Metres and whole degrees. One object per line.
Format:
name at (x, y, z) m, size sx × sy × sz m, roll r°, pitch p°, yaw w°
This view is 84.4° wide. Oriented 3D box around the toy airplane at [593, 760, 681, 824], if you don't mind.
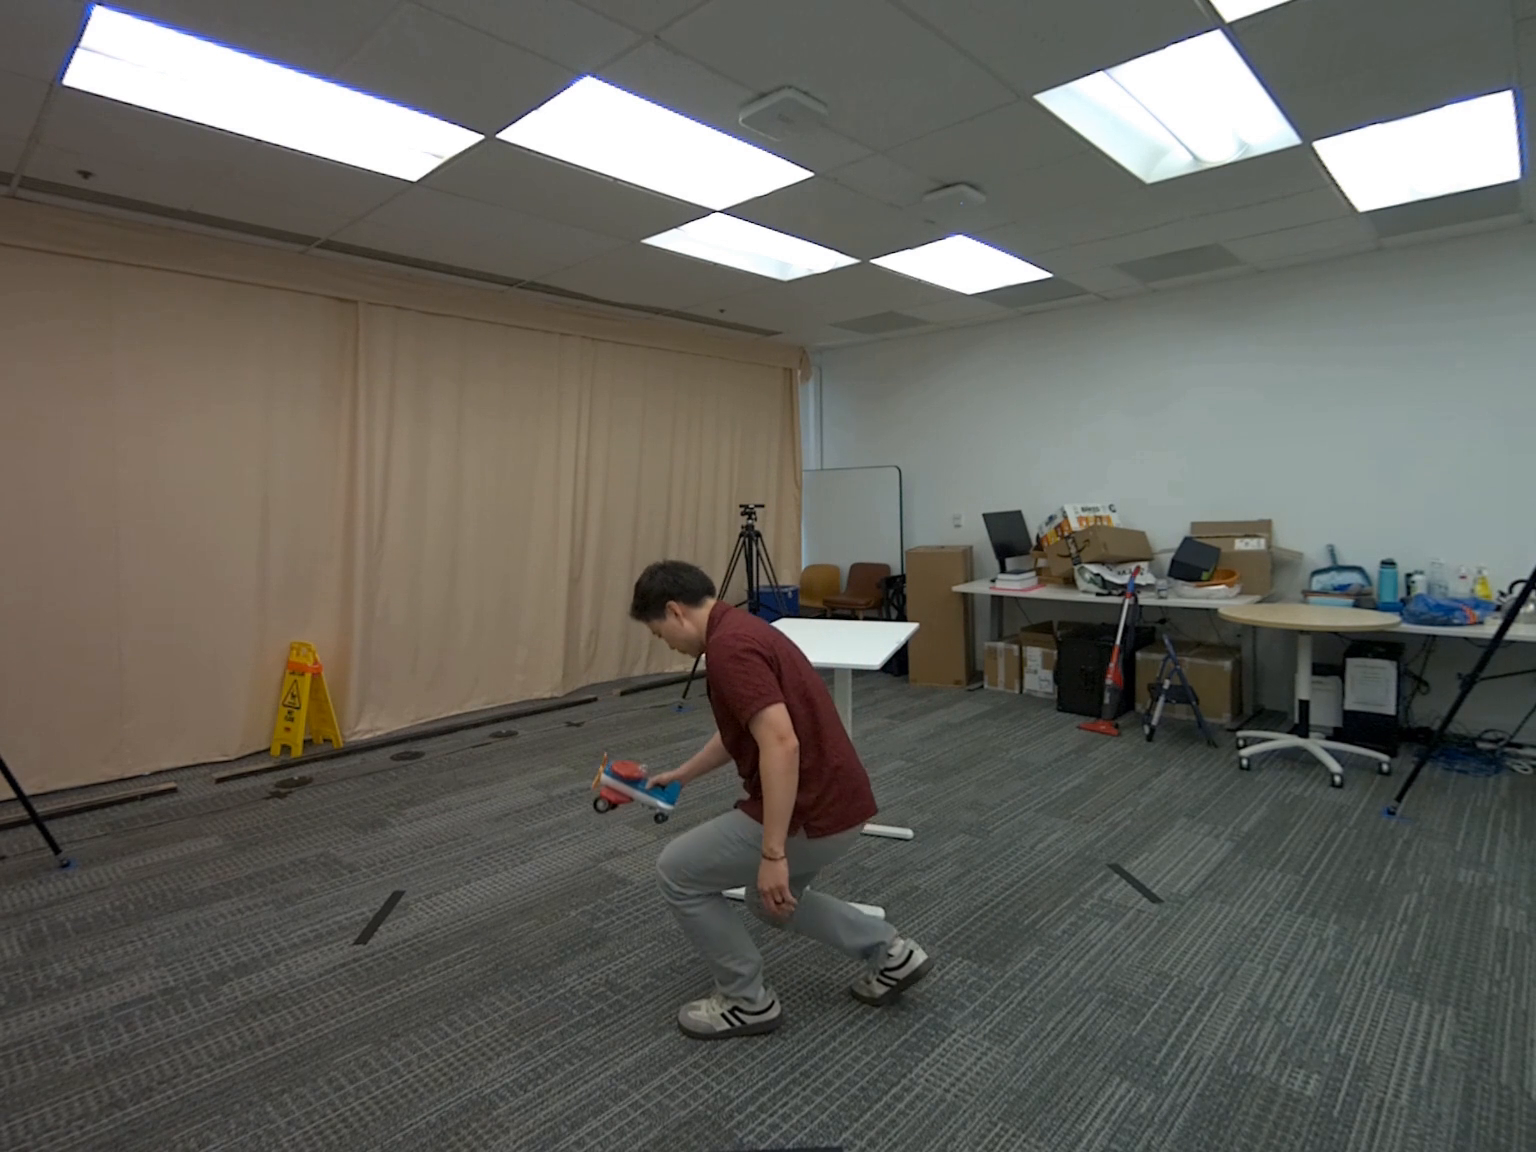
toy airplane at (-0.398, 0.658, 2.568) m, size 0.254 × 0.157 × 0.255 m, roll 11°, pitch -9°, yaw -20°
